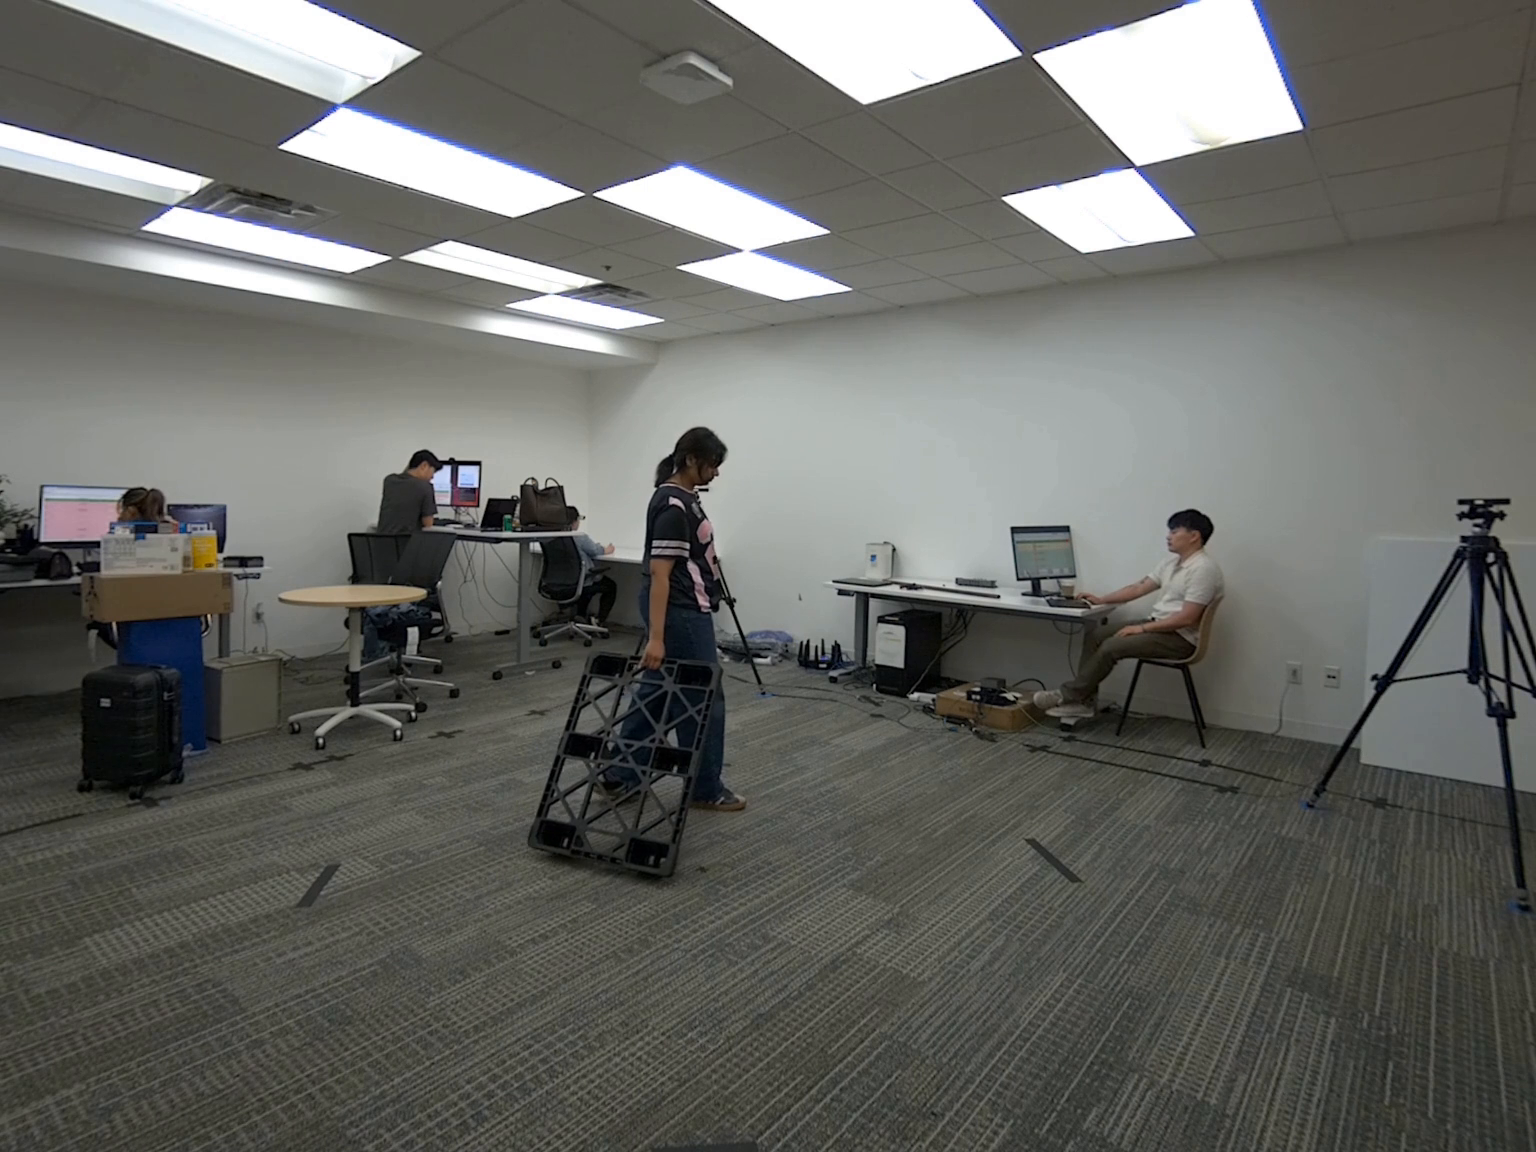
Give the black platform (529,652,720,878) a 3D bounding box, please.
[{"bbox_3d":[-0.542,0.709,3.300,0.619,0.819,0.138,2,-29,21],"label":"black platform"}]
